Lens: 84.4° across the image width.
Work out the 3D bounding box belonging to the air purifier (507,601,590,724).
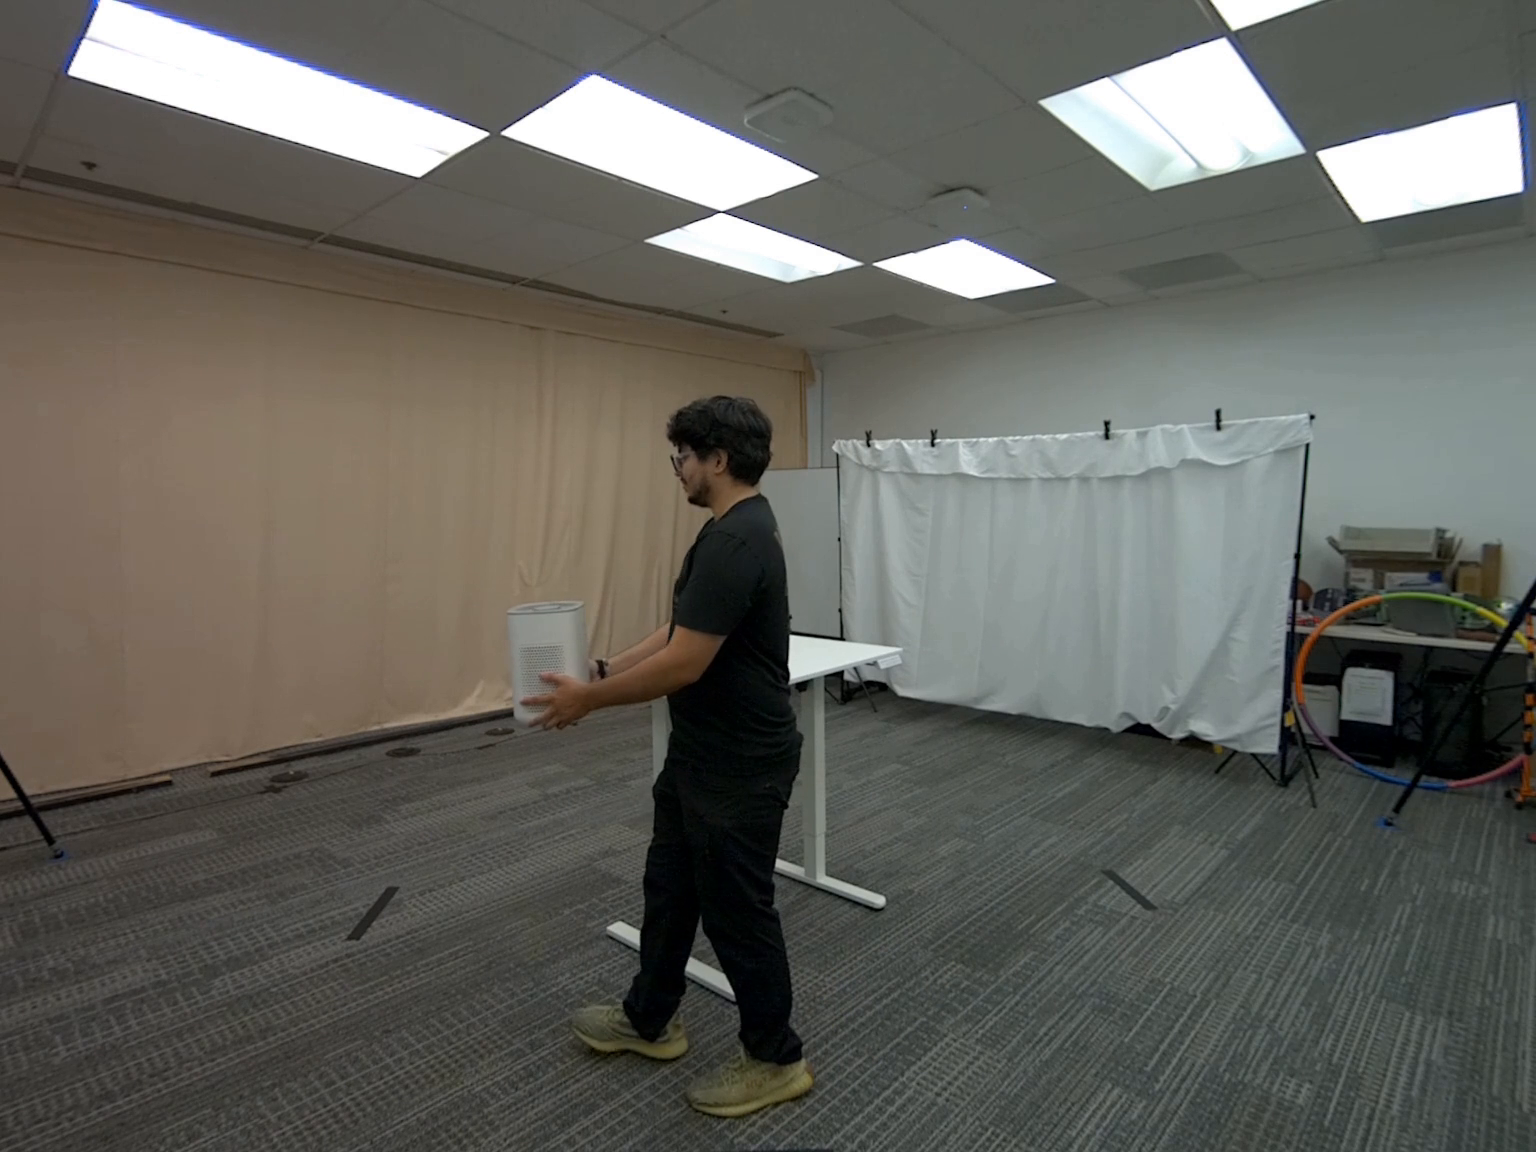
[{"bbox_3d":[-0.507,0.204,1.962,0.172,0.265,0.171,-1,4,-1],"label":"air purifier"}]
